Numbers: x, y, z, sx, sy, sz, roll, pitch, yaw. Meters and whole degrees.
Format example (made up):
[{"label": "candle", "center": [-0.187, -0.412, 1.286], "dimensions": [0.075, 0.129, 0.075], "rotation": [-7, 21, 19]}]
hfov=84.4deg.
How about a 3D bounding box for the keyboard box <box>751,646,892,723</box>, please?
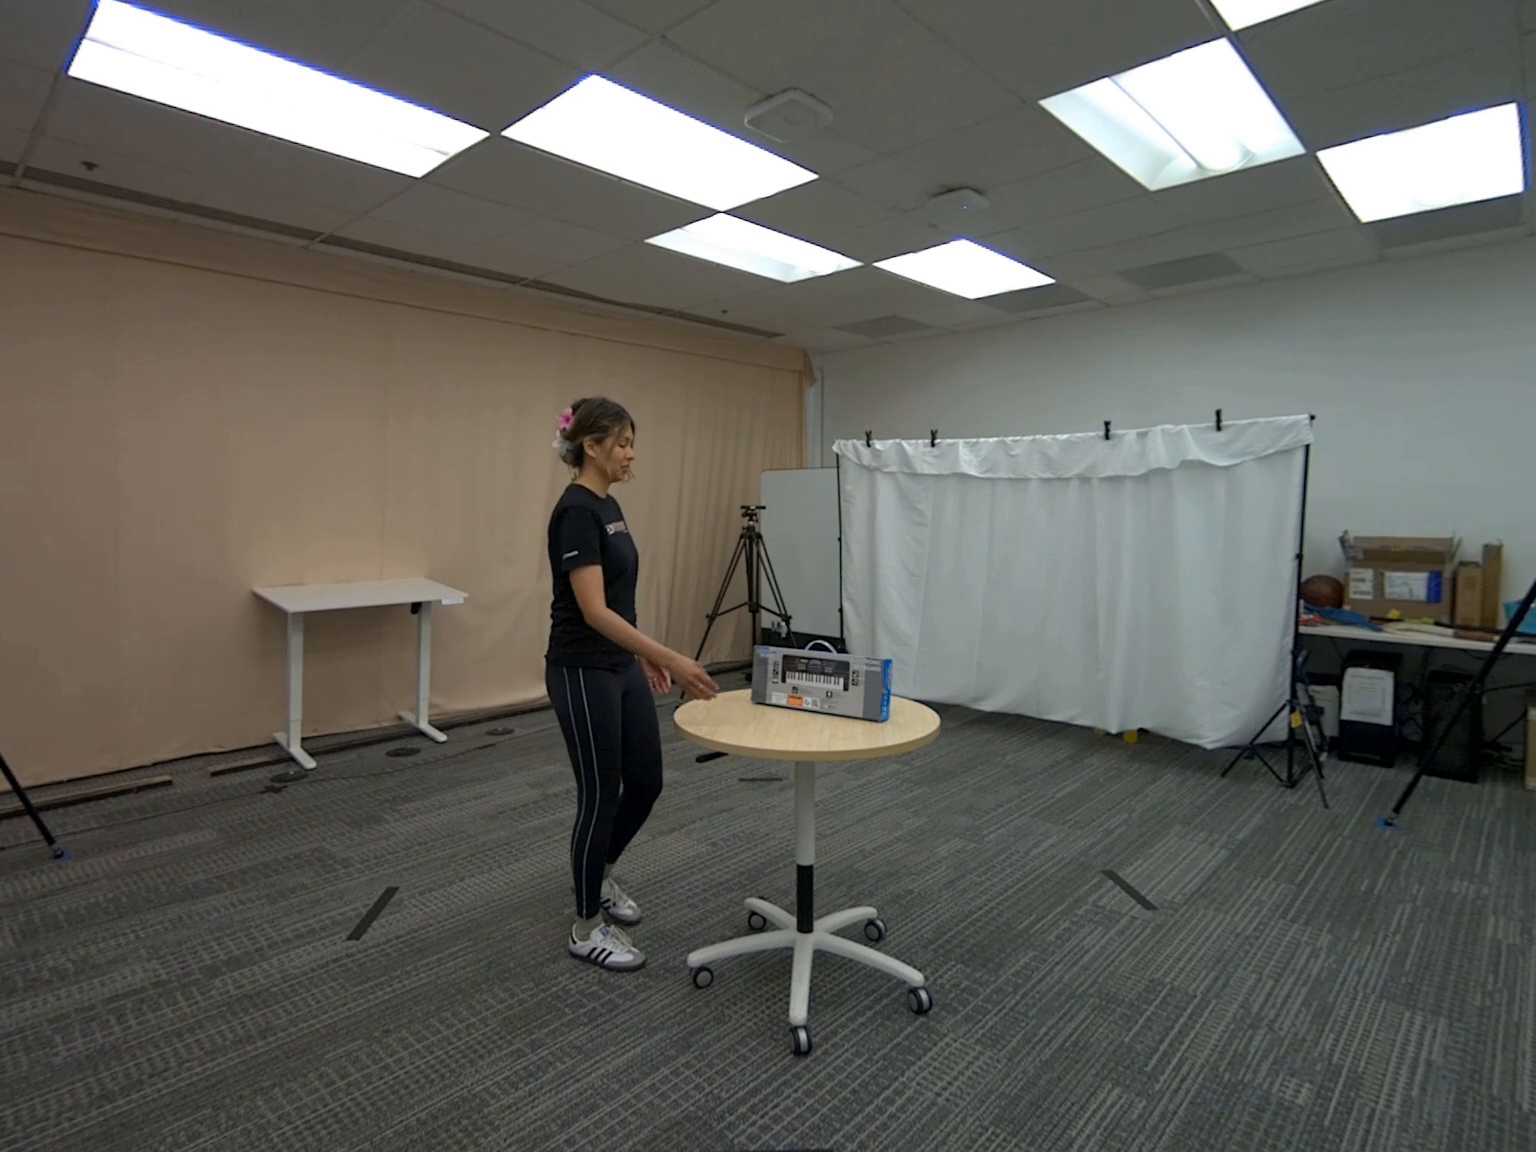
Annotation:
[{"label": "keyboard box", "center": [0.155, 0.315, 2.486], "dimensions": [0.450, 0.176, 0.057], "rotation": [2, -4, 34]}]
